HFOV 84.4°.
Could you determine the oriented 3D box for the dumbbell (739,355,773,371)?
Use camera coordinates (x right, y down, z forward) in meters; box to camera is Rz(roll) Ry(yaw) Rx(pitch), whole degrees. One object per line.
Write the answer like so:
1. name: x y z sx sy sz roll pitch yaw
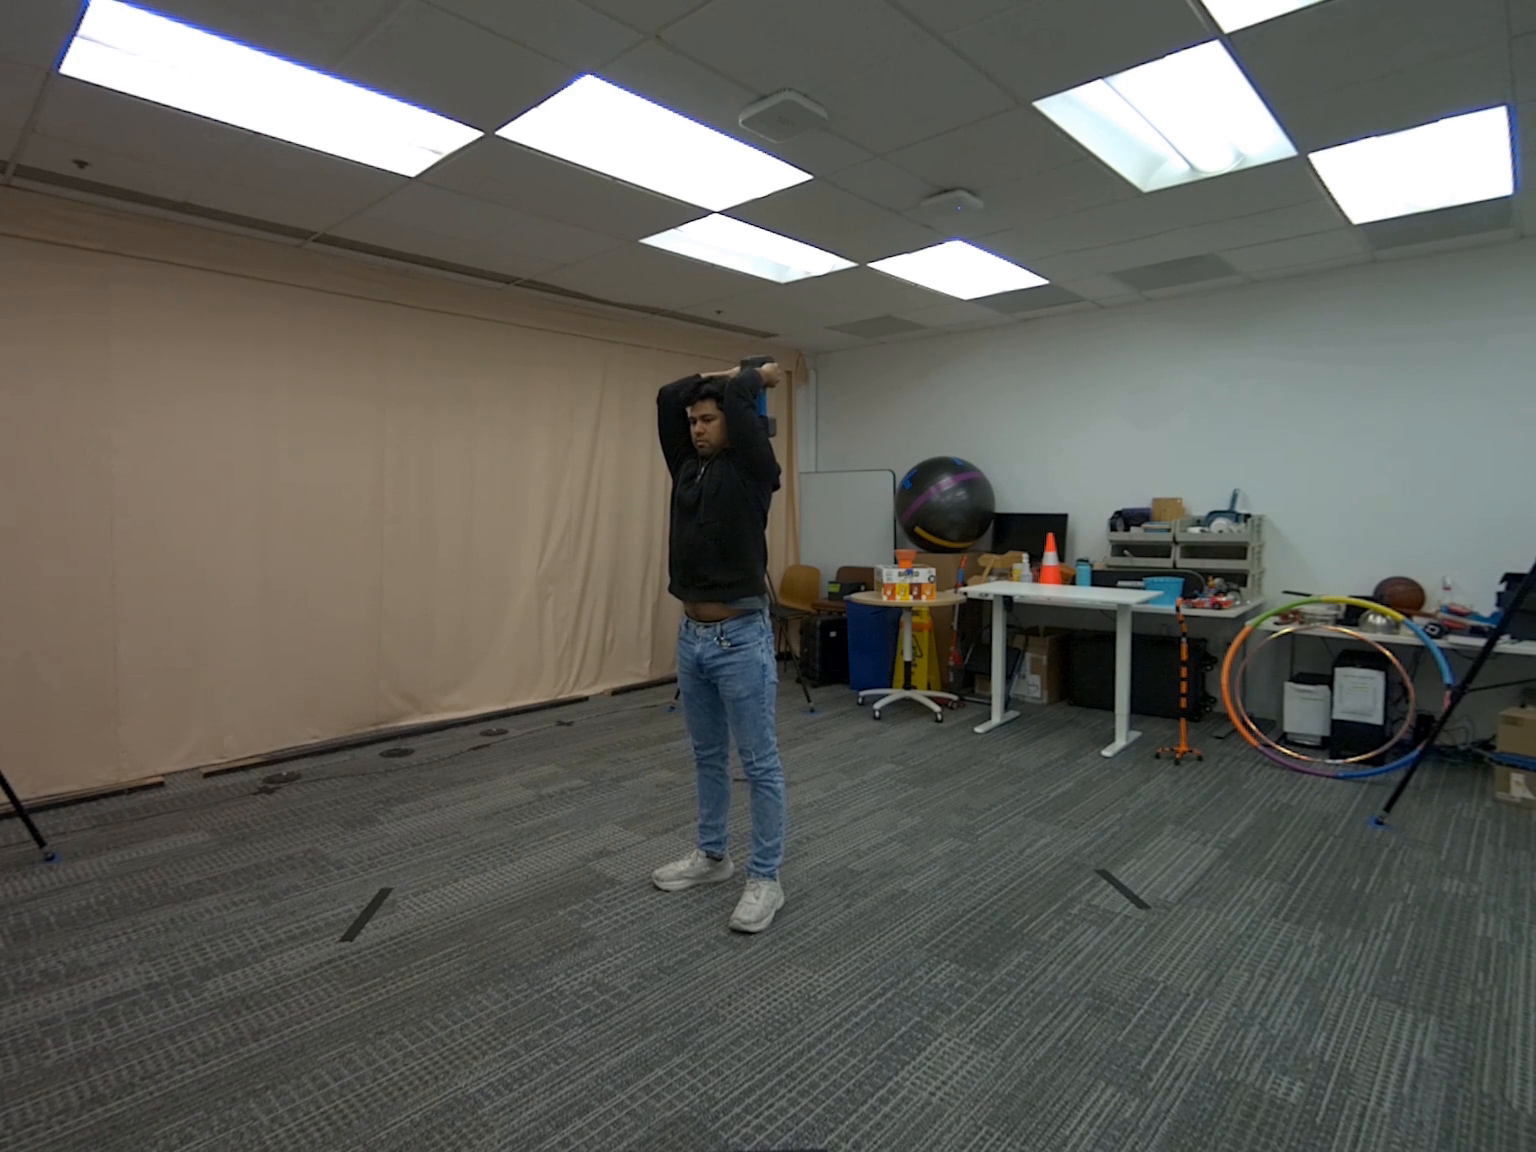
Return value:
1. dumbbell: -0.031 -0.651 3.049 0.106 0.291 0.127 -8 14 -33
